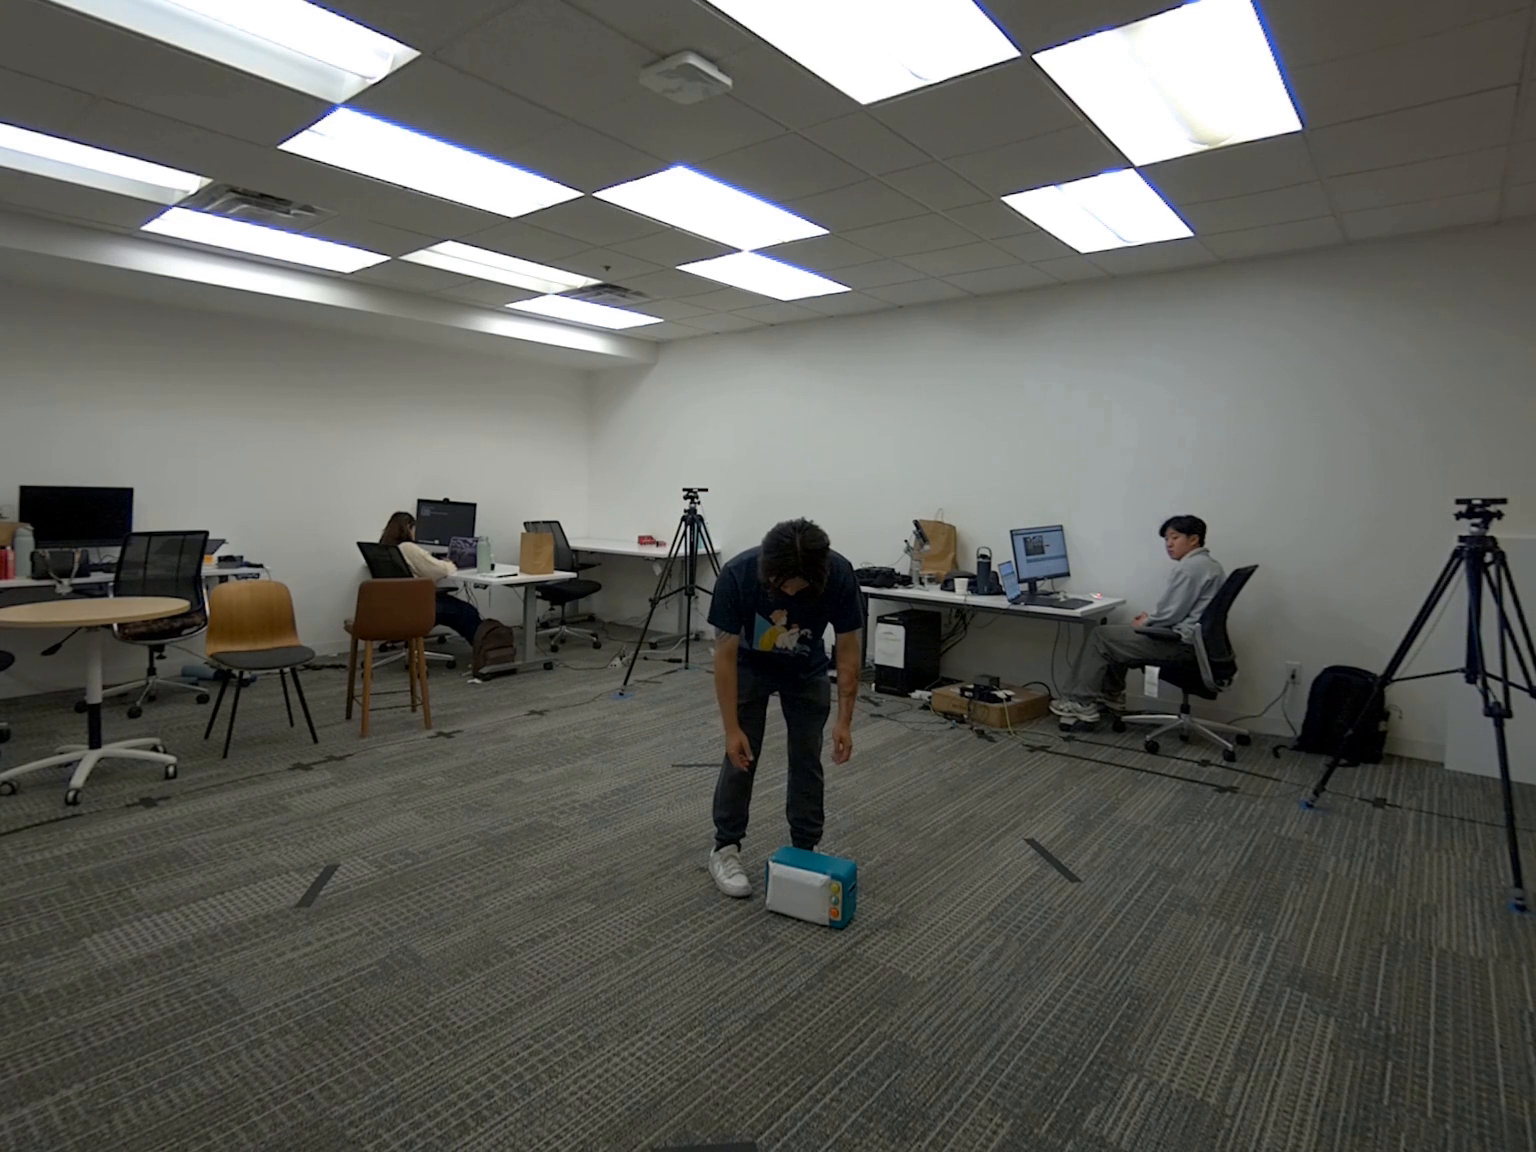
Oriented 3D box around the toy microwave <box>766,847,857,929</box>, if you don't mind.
[{"bbox_3d":[0.129,1.015,2.790,0.294,0.183,0.149,4,4,25],"label":"toy microwave"}]
